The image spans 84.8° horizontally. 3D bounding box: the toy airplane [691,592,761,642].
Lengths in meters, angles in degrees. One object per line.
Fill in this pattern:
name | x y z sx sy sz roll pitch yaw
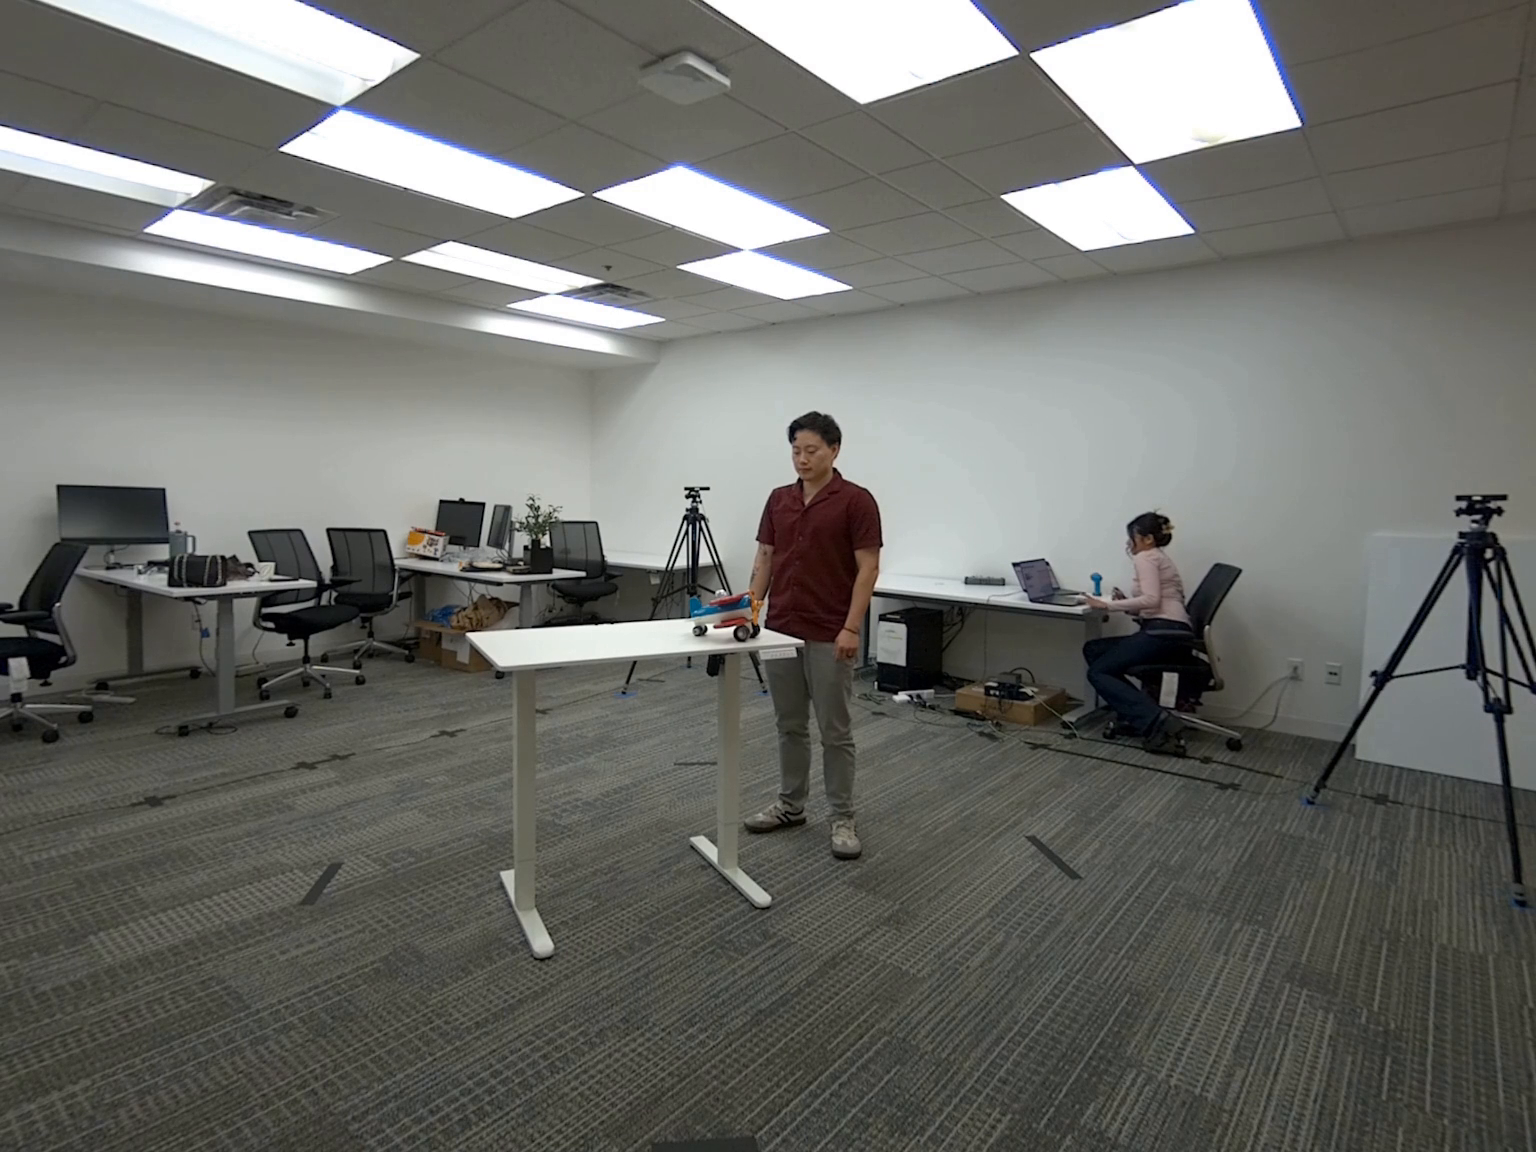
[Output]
toy airplane | -0.160 0.132 2.862 0.258 0.156 0.253 0 5 -3
